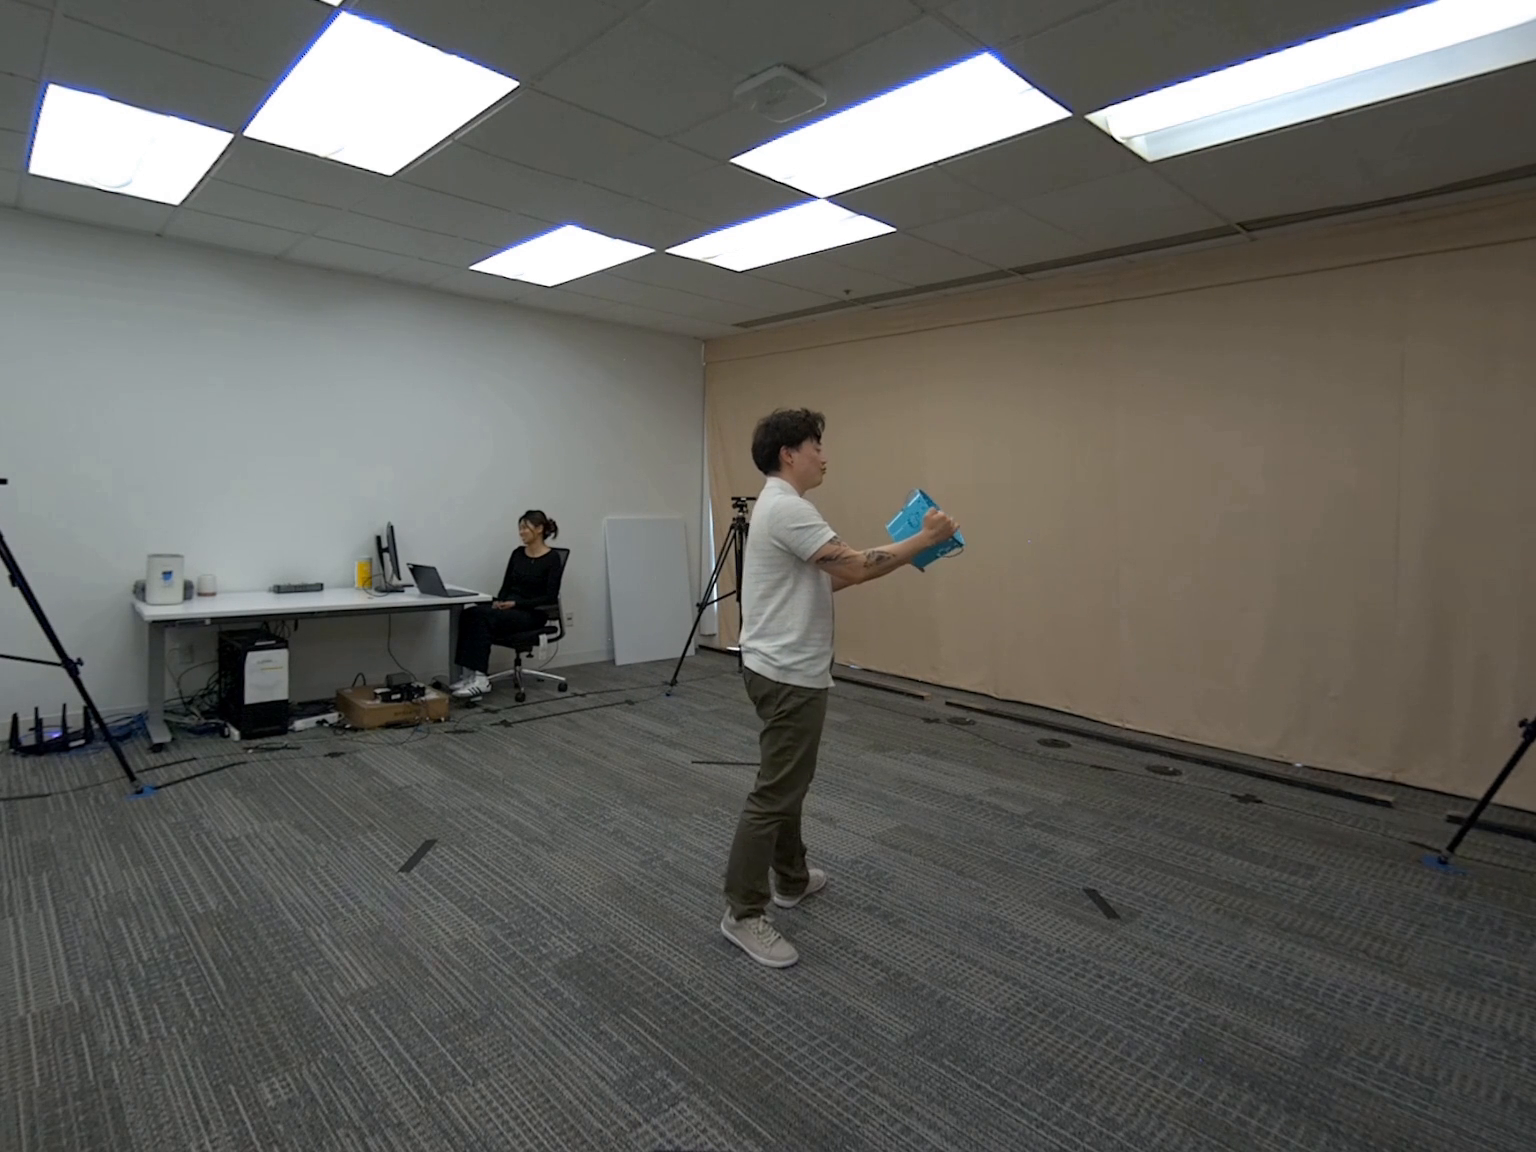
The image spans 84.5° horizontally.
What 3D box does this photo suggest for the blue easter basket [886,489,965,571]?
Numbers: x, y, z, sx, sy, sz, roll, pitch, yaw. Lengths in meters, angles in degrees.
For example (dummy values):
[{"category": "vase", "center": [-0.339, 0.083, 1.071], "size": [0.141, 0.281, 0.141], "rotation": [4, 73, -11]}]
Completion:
[{"category": "blue easter basket", "center": [0.493, -0.135, 2.682], "size": [0.156, 0.246, 0.240], "rotation": [-40, -10, 18]}]
